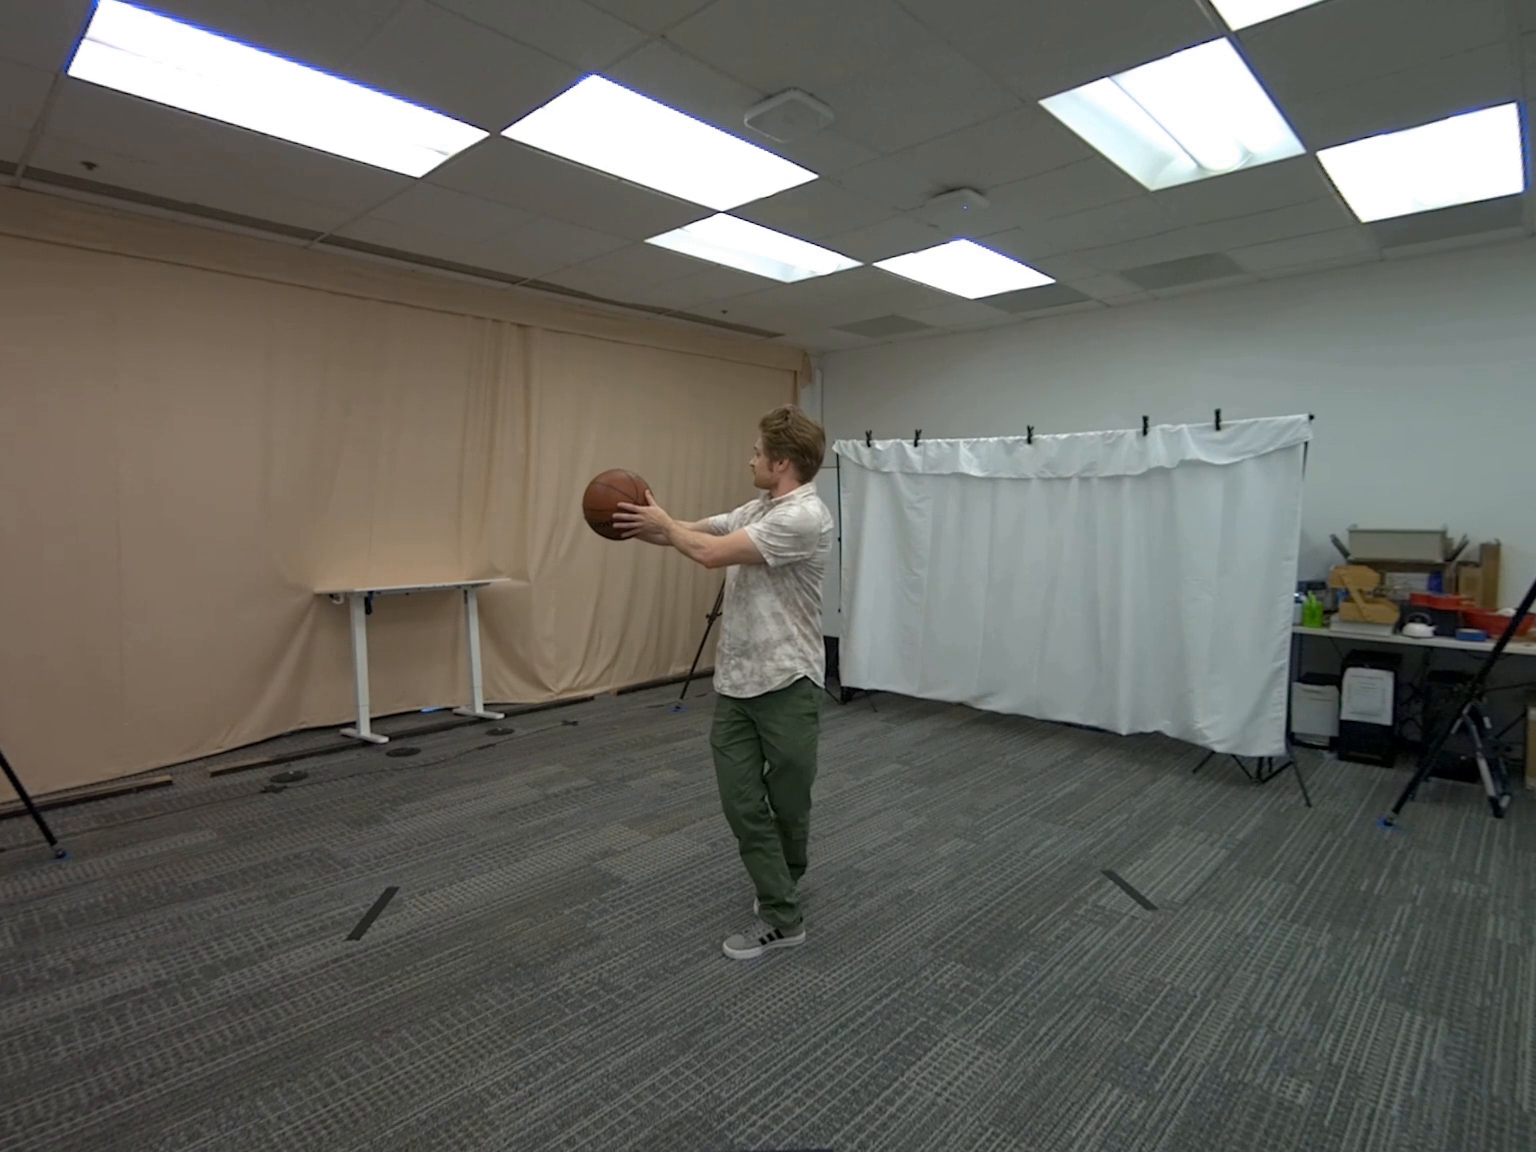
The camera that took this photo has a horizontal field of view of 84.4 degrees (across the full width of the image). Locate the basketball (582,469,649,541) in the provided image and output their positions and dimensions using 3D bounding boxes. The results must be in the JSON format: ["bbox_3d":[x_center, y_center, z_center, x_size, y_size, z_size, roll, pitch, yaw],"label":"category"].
[{"bbox_3d":[-0.500,-0.240,2.811,0.236,0.235,0.237,0,4,-2],"label":"basketball"}]
